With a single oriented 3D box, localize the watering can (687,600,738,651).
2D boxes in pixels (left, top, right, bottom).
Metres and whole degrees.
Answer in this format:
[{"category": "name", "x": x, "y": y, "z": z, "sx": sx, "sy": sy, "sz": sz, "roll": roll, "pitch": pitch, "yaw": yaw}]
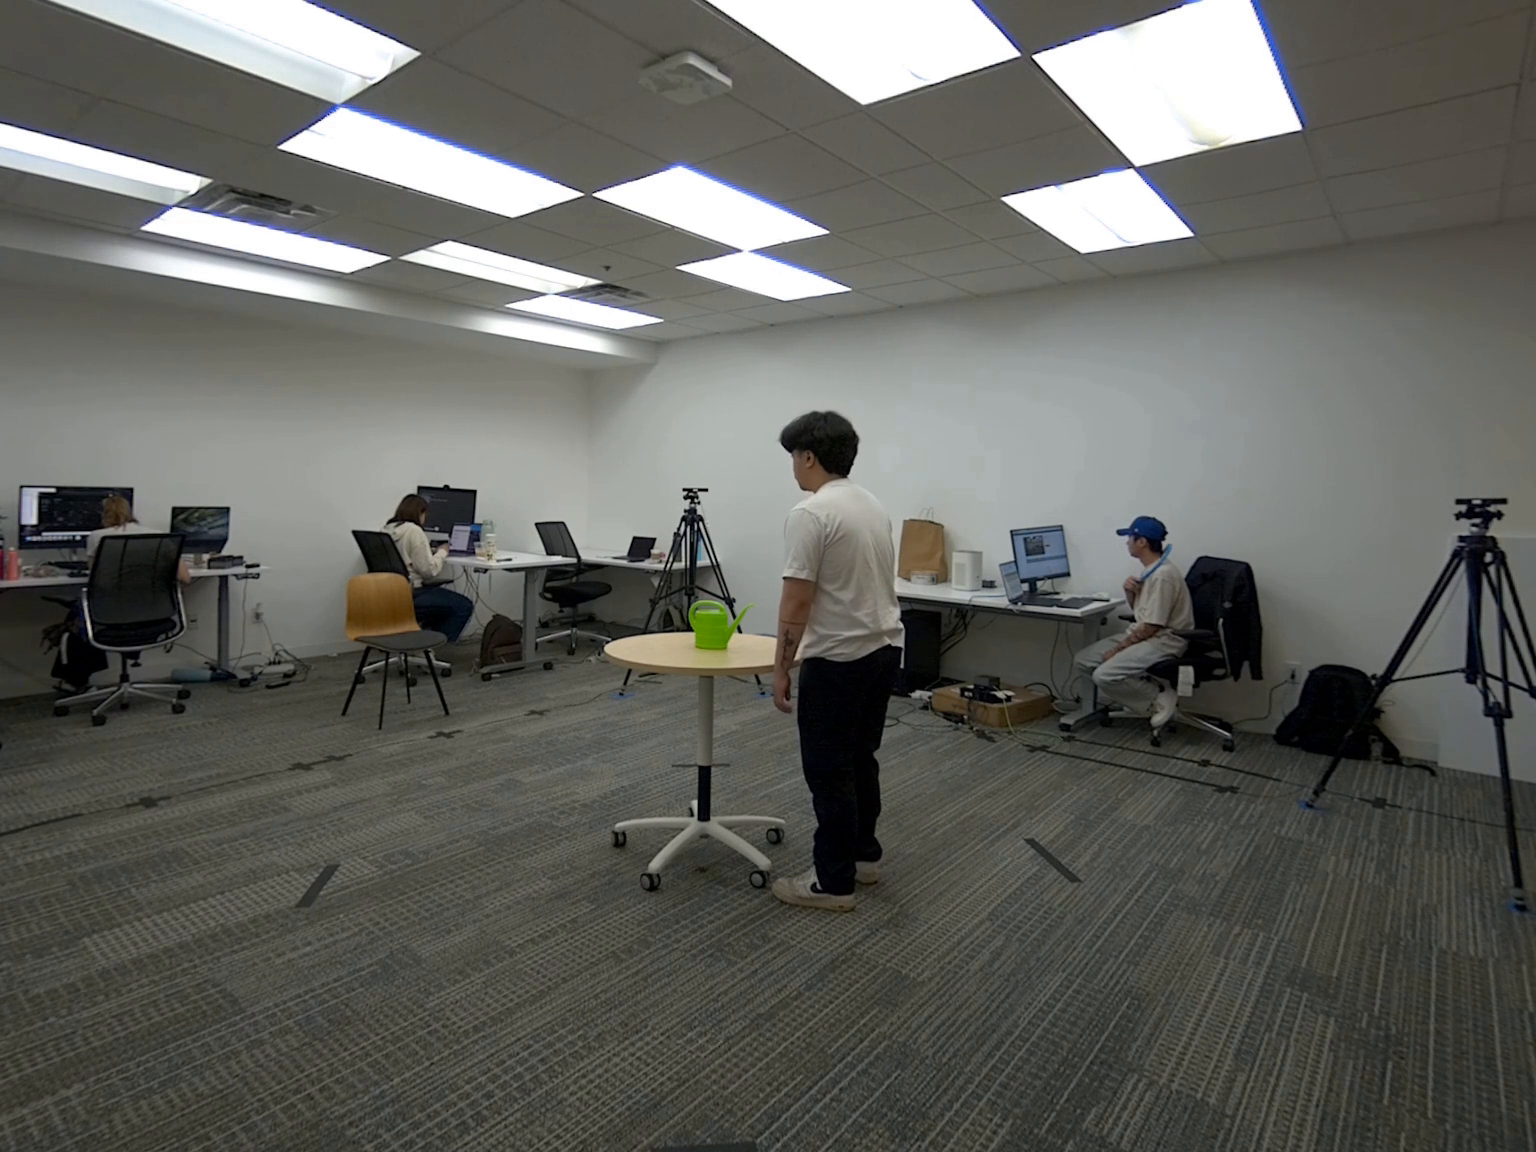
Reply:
[{"category": "watering can", "x": -0.197, "y": 0.180, "z": 3.179, "sx": 0.287, "sy": 0.176, "sz": 0.095, "roll": 3, "pitch": 5, "yaw": 38}]
